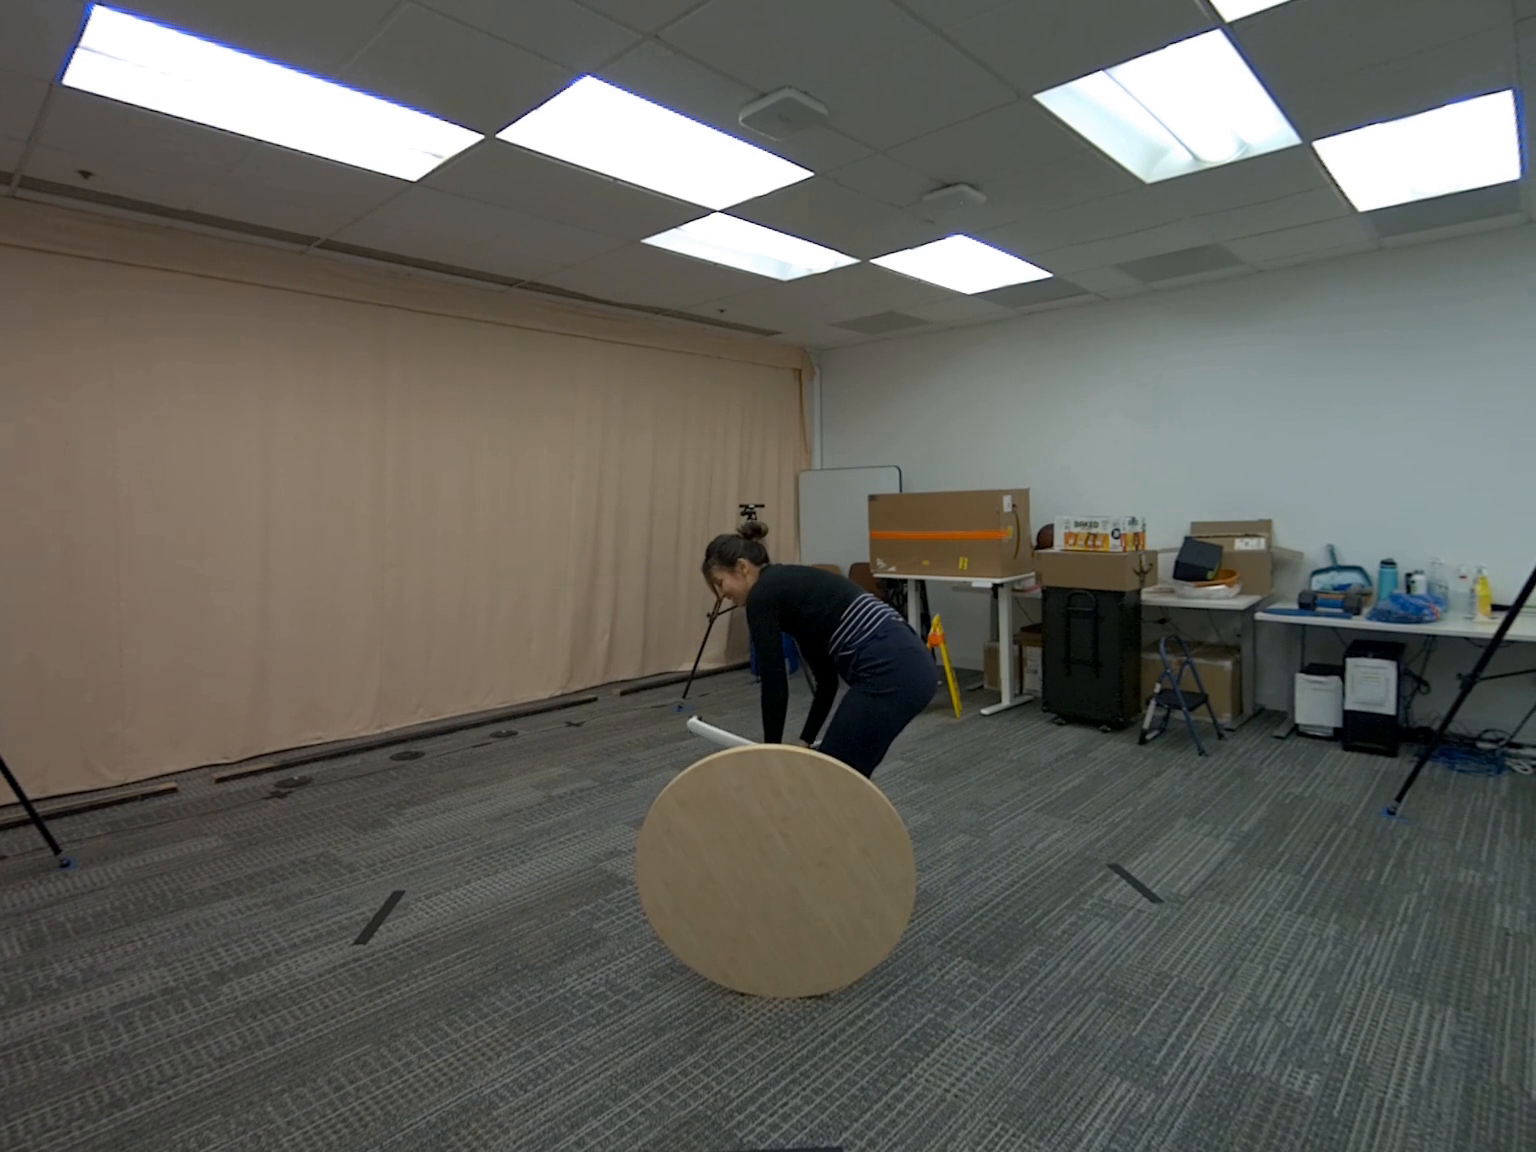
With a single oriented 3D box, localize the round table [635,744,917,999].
[{"bbox_3d":[0.036,0.724,2.680,0.769,0.757,0.796,-1,13,5],"label":"round table"}]
